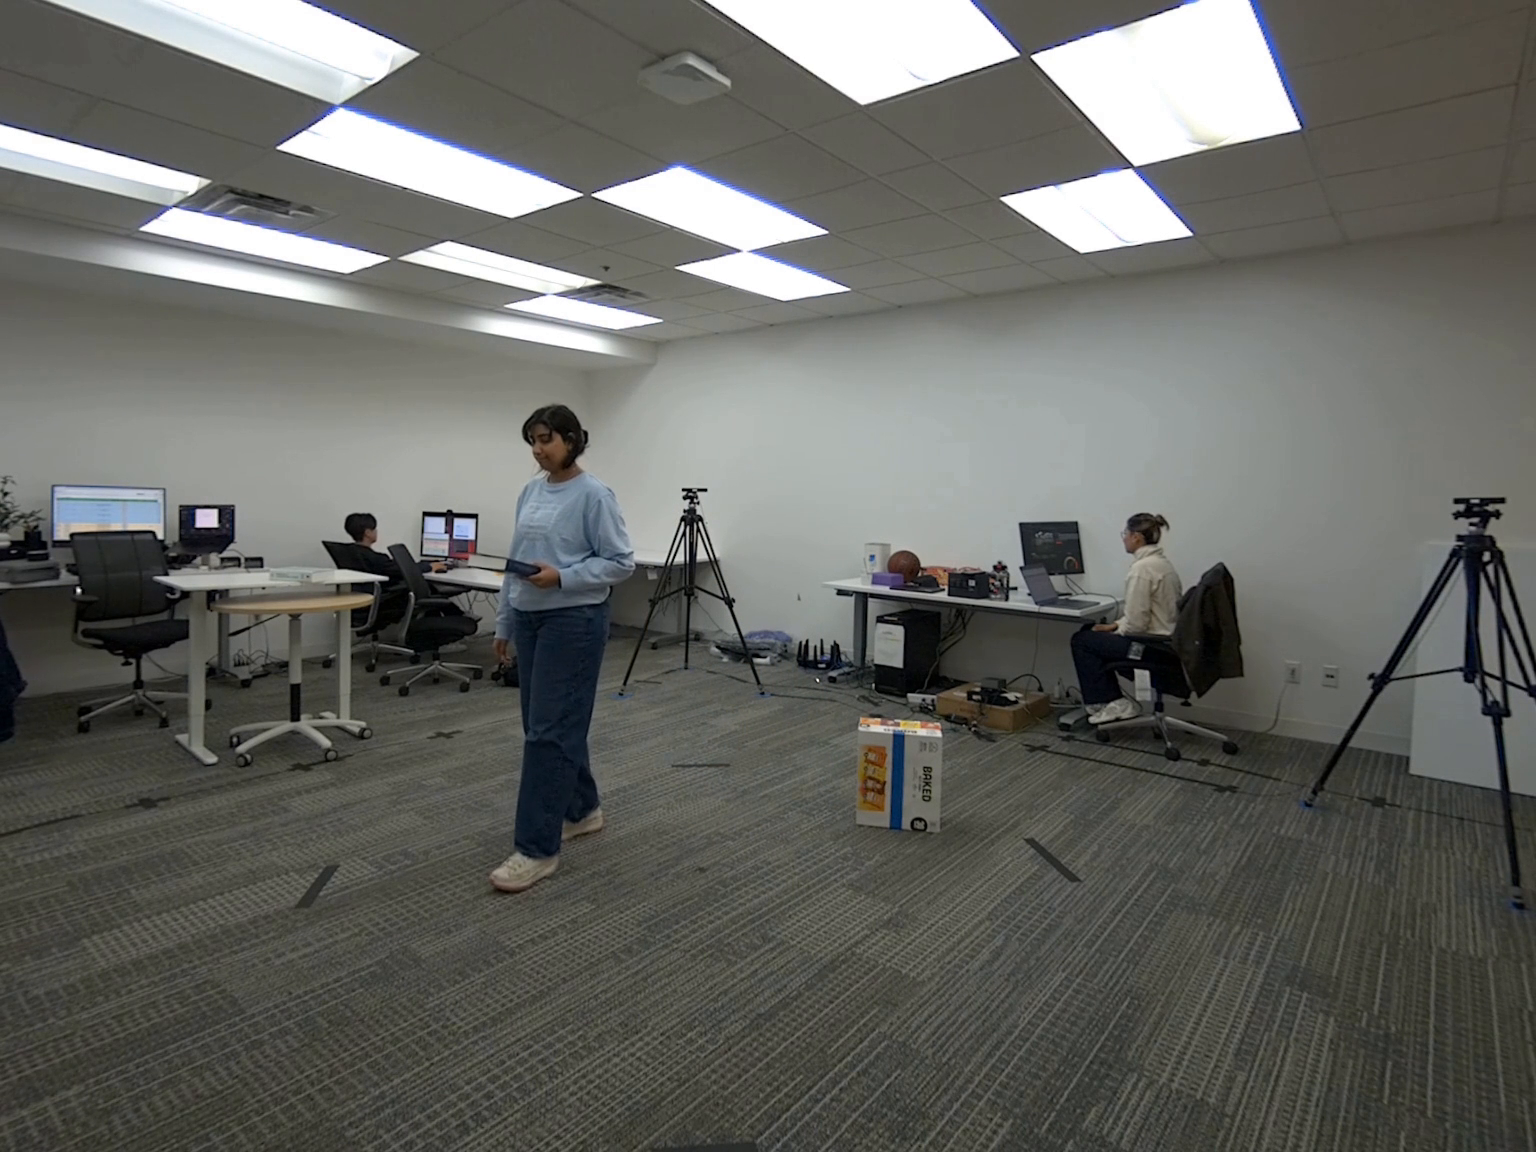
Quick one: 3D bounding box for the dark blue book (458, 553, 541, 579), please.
[{"bbox_3d":[-0.926,-0.040,2.964,0.166,0.045,0.241,7,-4,10],"label":"dark blue book"}]
